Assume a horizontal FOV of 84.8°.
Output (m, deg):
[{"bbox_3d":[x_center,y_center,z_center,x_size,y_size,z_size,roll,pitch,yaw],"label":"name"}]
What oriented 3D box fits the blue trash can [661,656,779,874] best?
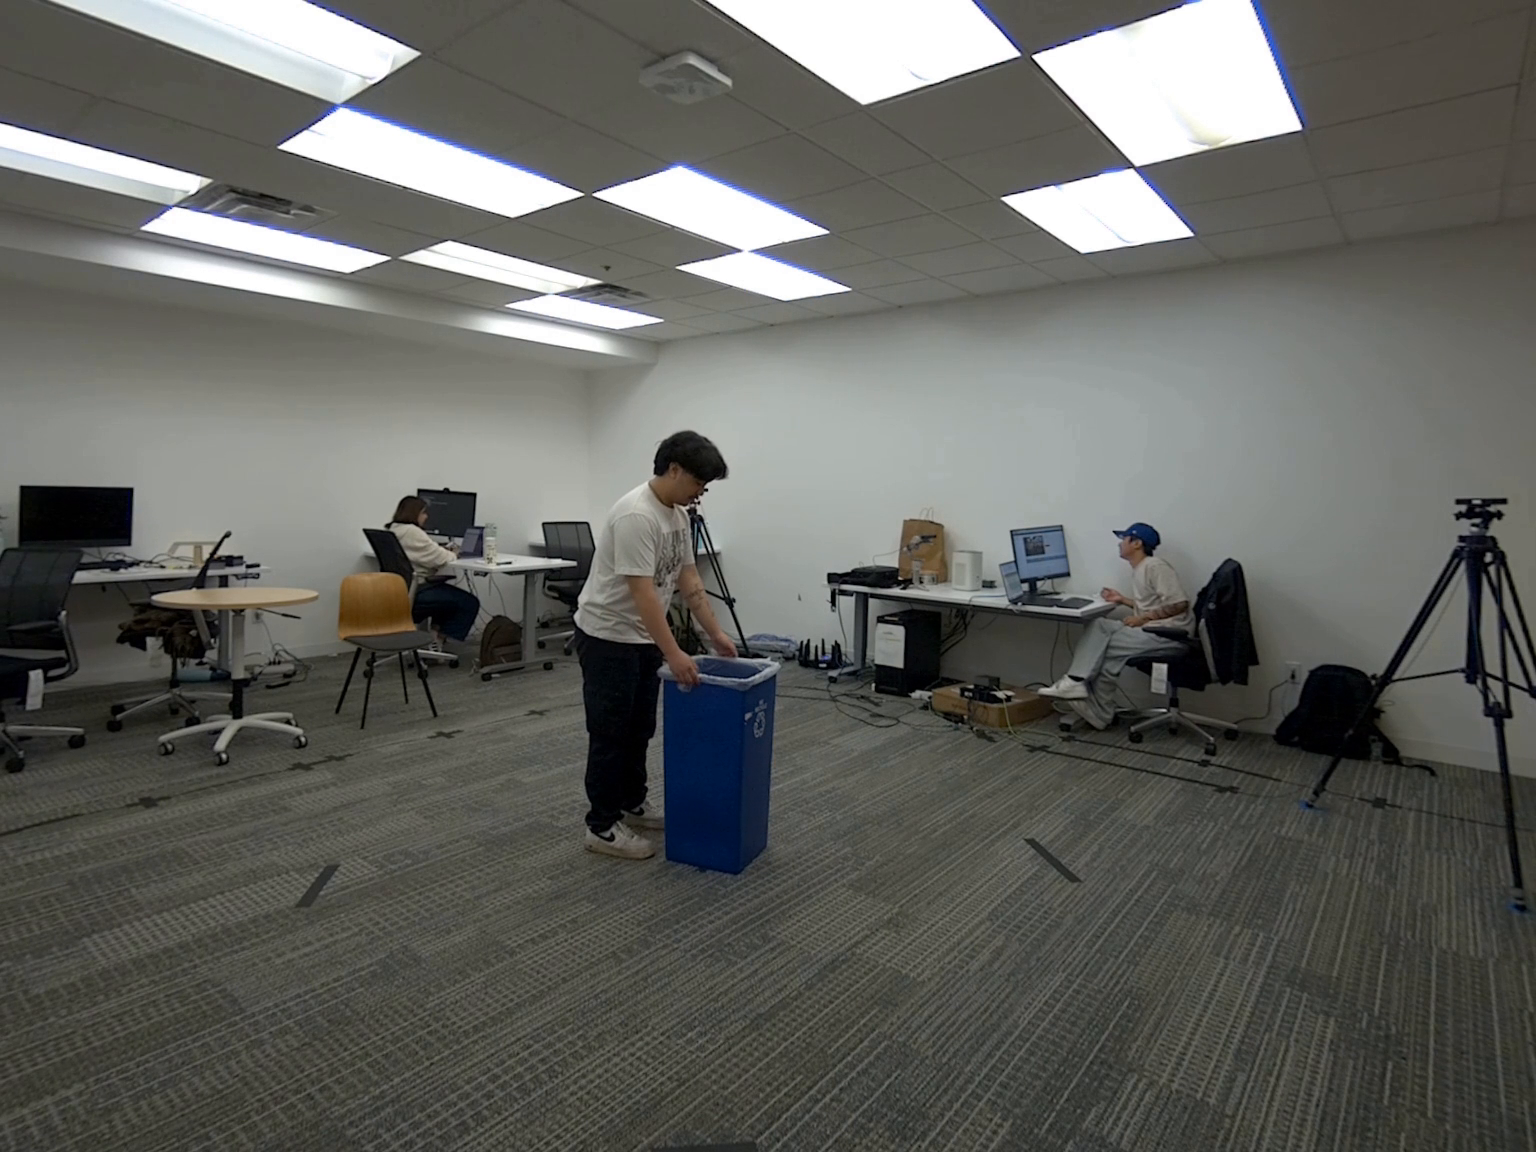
[{"bbox_3d":[-0.201,0.695,3.247,0.387,0.711,0.366,3,4,22],"label":"blue trash can"}]
